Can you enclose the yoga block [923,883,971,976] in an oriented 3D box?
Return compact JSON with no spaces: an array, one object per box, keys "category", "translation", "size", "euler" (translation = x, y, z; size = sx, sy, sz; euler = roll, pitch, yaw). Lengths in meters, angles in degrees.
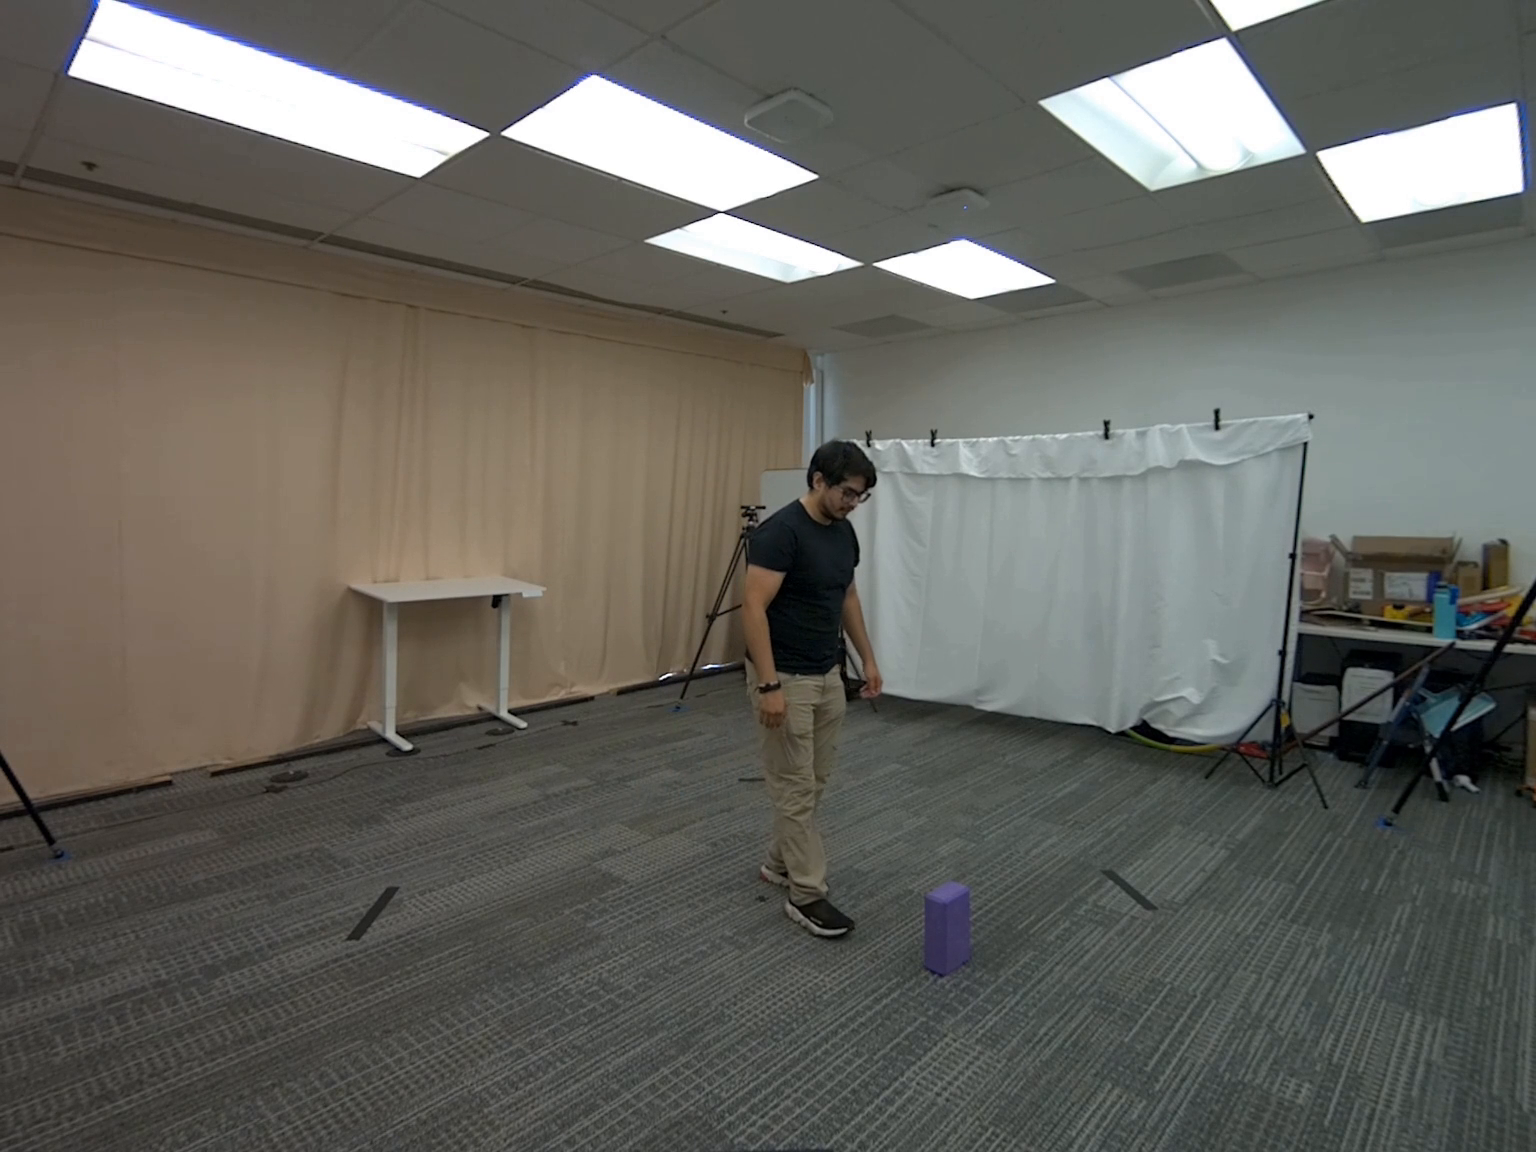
[{"category":"yoga block","translation":[0.550,1.065,2.542],"size":[0.079,0.229,0.144],"euler":[3,4,45]}]
